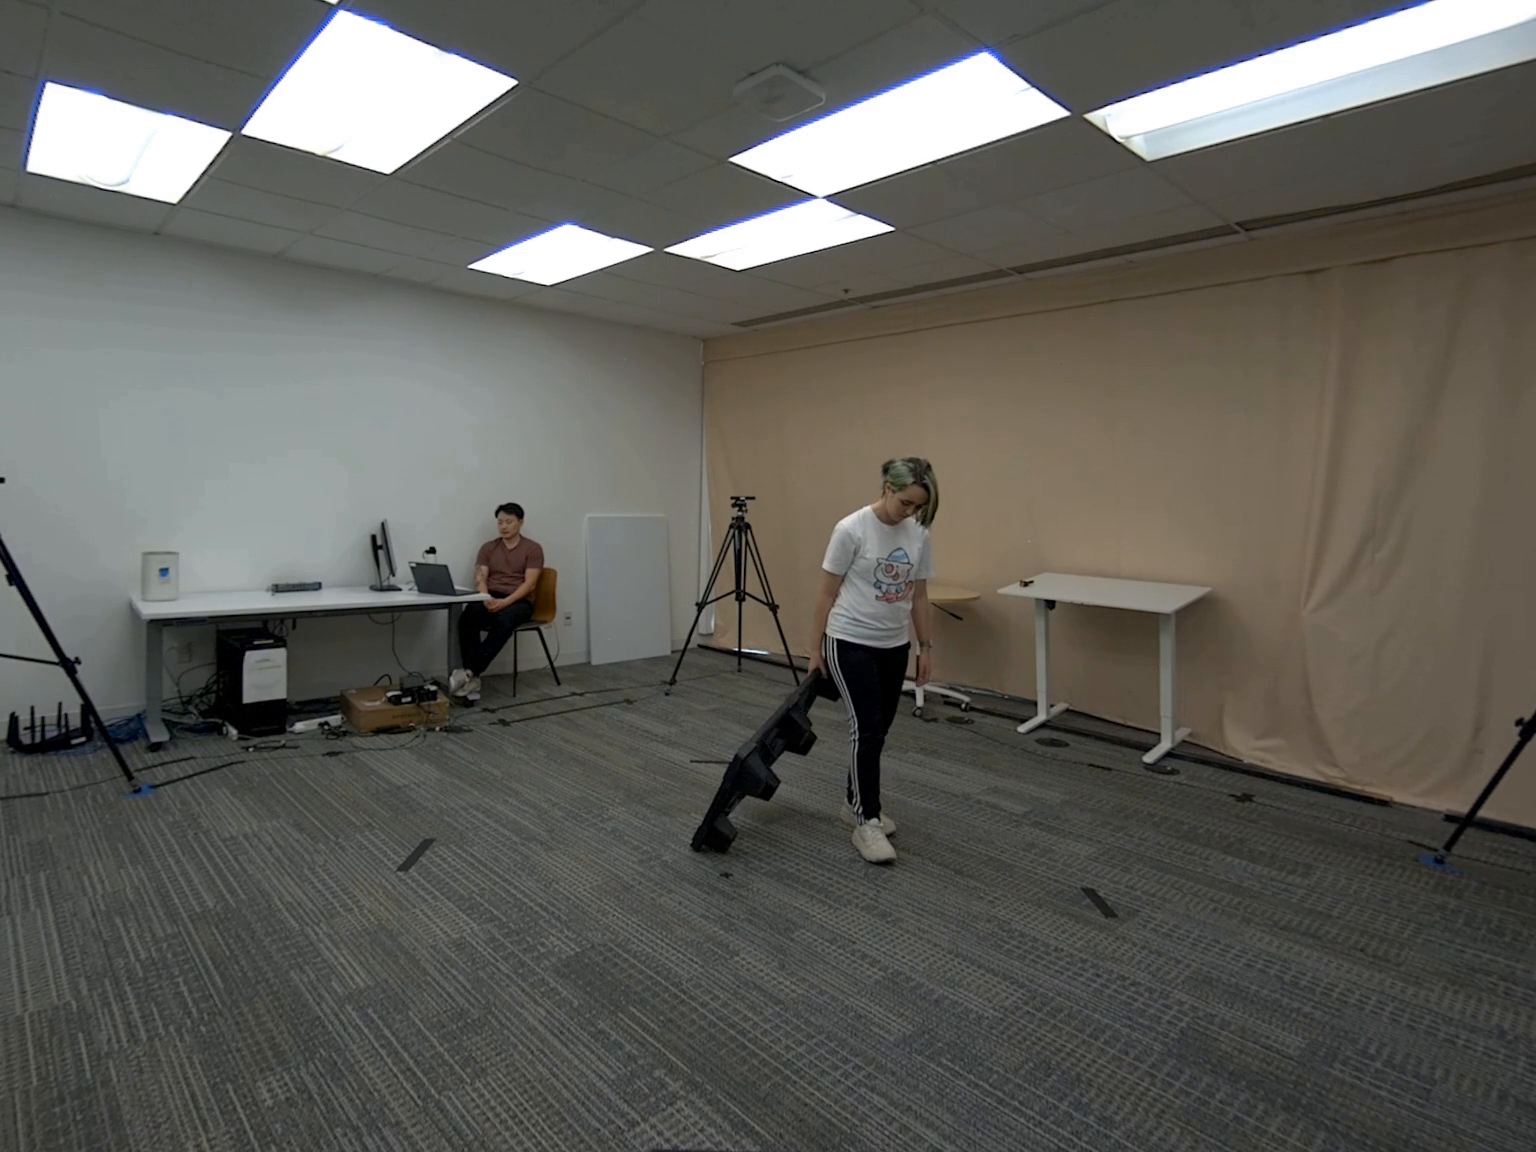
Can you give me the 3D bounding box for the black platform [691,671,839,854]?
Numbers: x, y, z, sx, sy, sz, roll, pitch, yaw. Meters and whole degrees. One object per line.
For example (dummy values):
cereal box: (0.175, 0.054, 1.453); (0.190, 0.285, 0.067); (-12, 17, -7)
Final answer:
black platform: (0.022, 0.733, 3.427); (0.146, 0.598, 0.801); (33, 36, 14)
